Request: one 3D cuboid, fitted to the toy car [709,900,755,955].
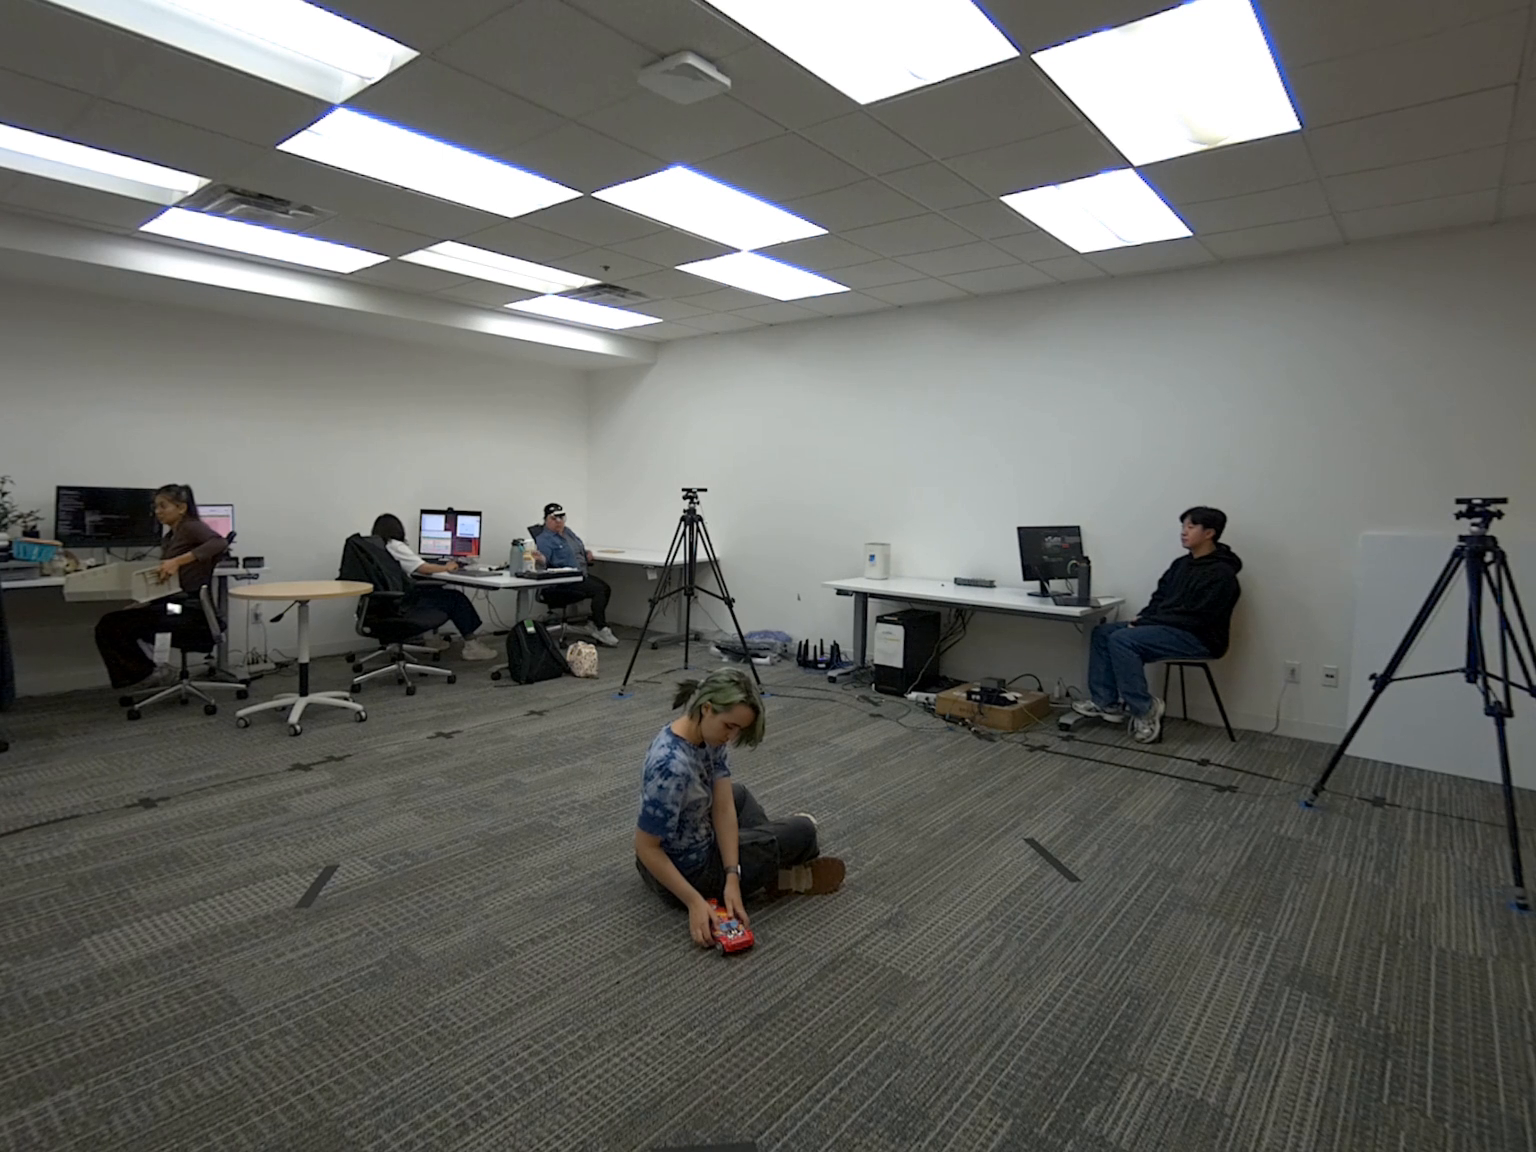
[{"bbox_3d":[-0.157,1.085,2.636,0.127,0.082,0.264,-1,15,-31],"label":"toy car"}]
